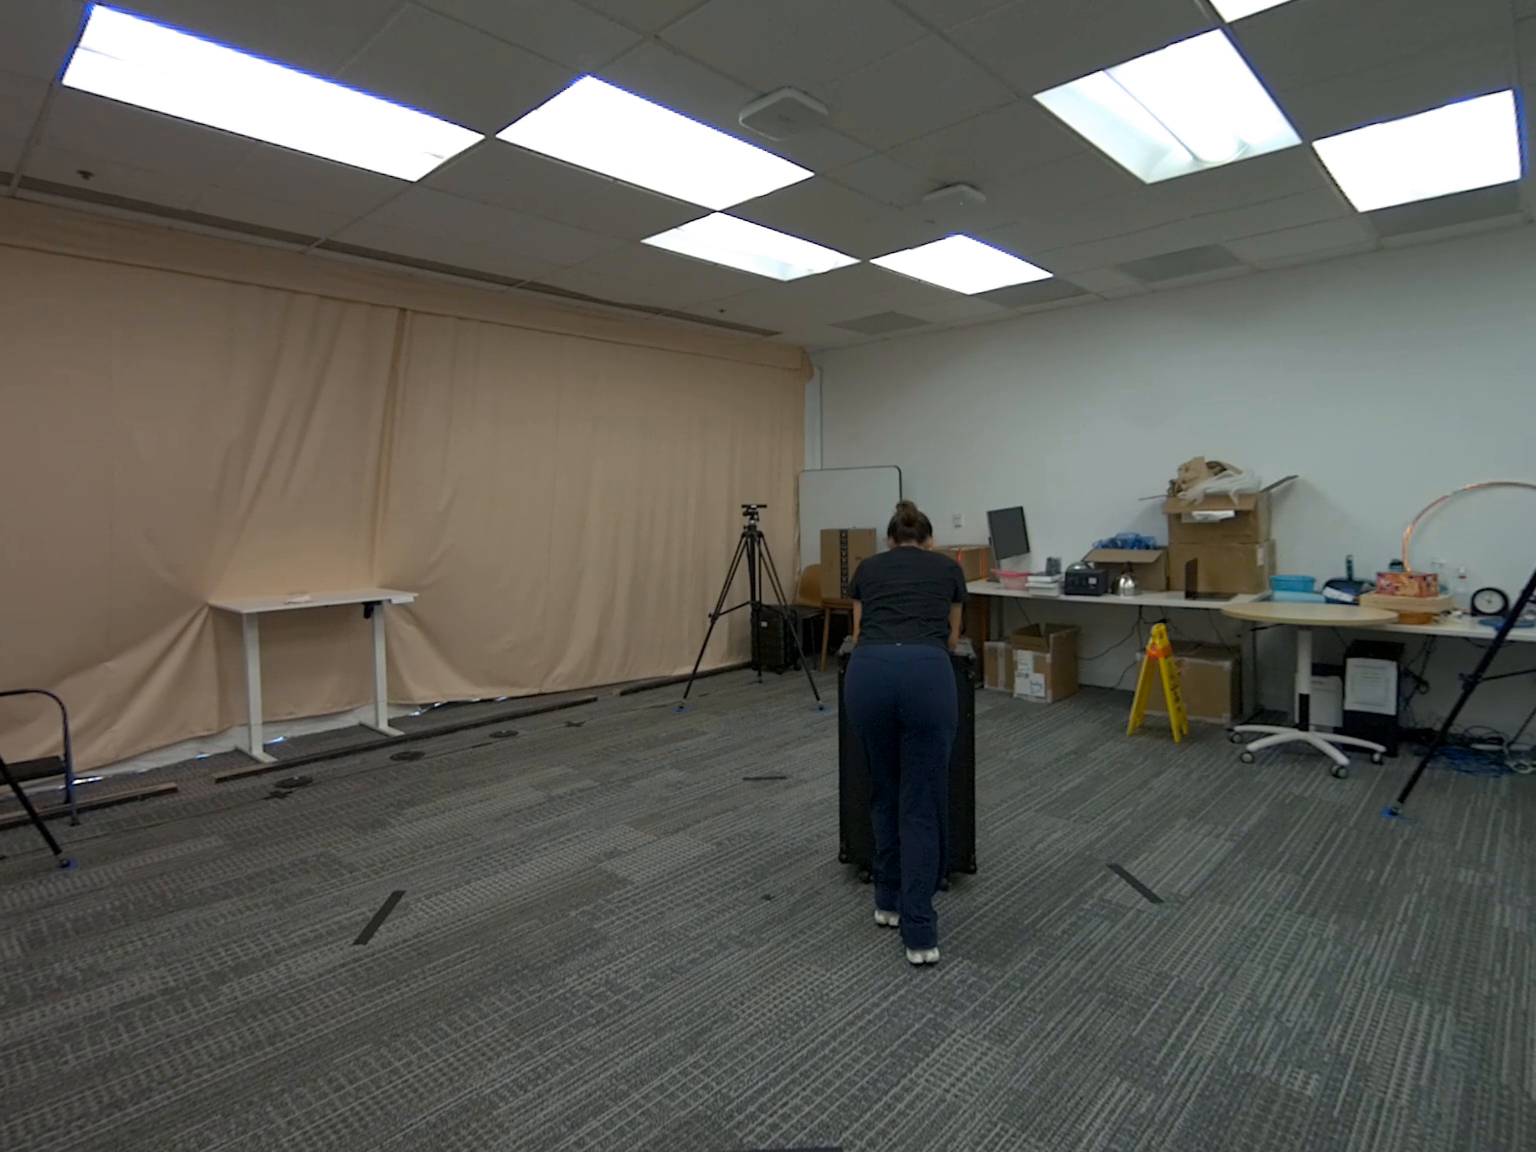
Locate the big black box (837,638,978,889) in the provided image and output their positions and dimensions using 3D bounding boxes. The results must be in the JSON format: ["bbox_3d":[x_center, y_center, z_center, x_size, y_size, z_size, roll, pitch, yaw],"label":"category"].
[{"bbox_3d":[0.531,0.629,3.182,0.528,0.860,0.392,-1,2,11],"label":"big black box"}]
